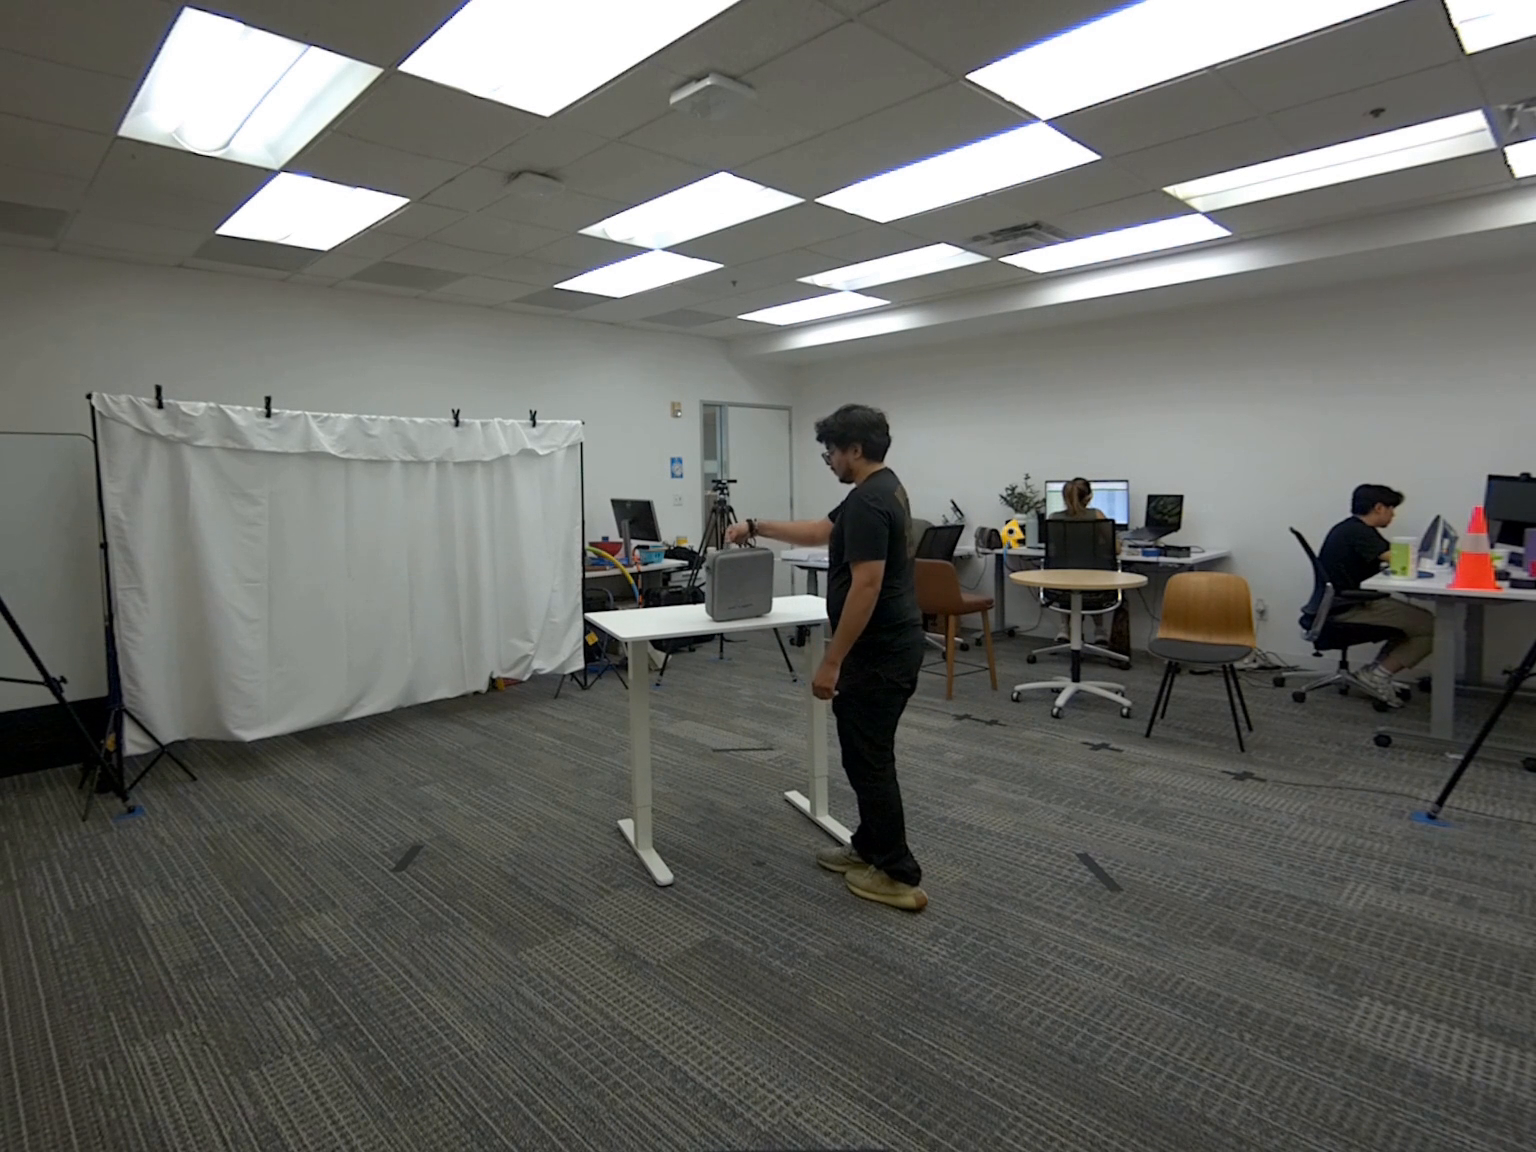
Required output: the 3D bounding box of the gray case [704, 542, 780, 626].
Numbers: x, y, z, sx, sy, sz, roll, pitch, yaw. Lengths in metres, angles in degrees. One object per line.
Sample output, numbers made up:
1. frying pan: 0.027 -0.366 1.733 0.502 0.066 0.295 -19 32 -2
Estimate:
1. gray case: -0.098 0.023 3.150 0.251 0.258 0.108 -6 12 -32
